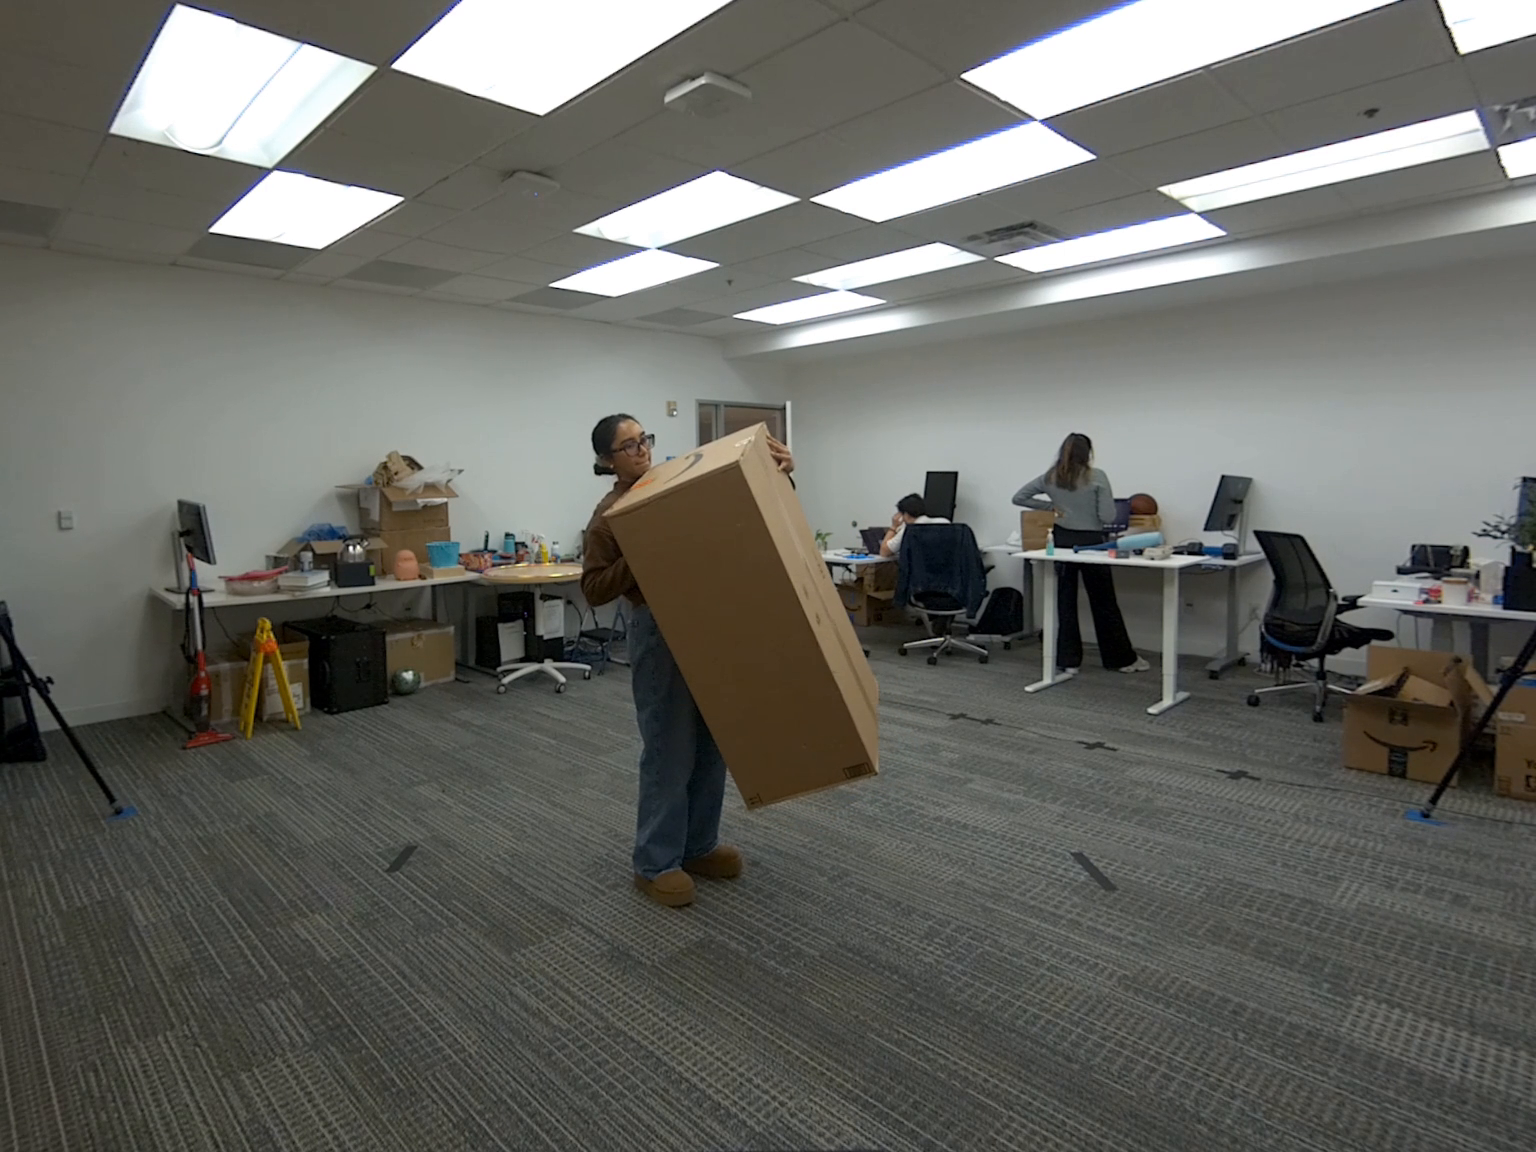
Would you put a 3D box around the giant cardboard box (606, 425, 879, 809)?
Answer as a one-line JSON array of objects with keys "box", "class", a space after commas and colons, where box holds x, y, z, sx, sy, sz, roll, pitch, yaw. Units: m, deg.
[{"box": [-0.031, 0.109, 2.706, 0.430, 1.009, 0.582, -21, 14, 15], "class": "giant cardboard box"}]
